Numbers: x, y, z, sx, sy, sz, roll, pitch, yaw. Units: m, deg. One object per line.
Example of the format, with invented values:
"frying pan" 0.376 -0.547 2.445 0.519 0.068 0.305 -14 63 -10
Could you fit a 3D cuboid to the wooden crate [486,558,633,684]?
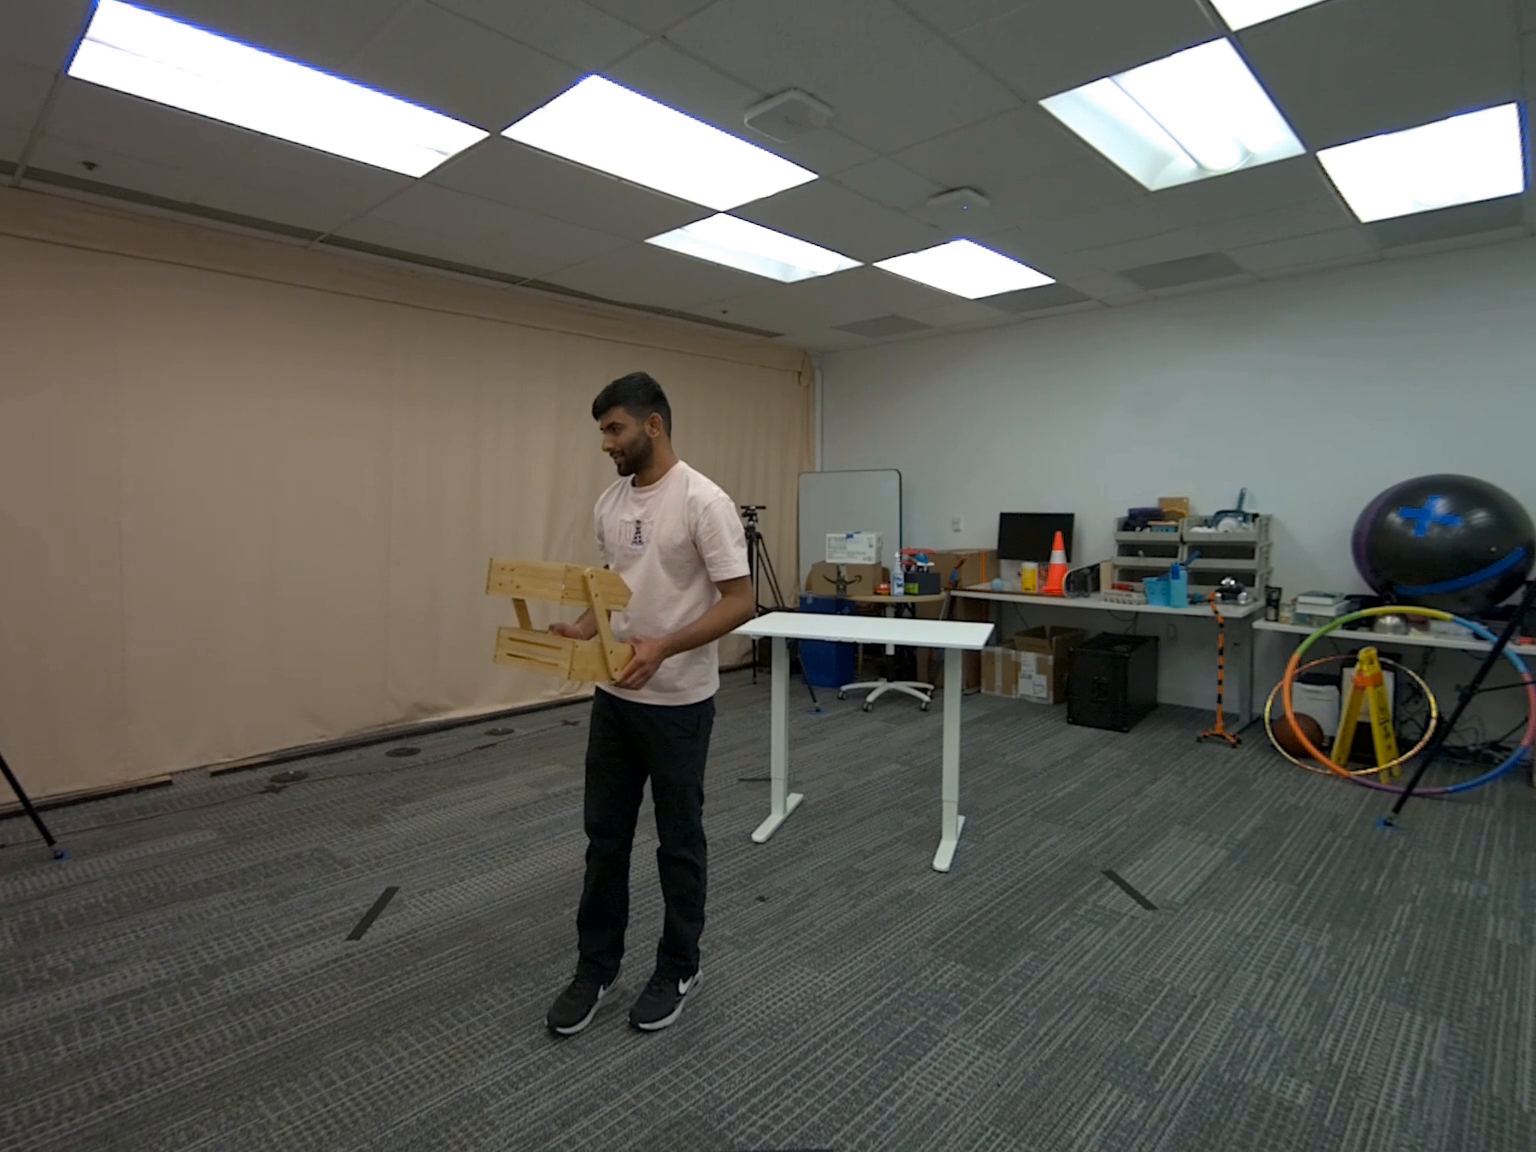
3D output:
"wooden crate" -0.495 0.105 2.082 0.335 0.274 0.292 4 -4 39
